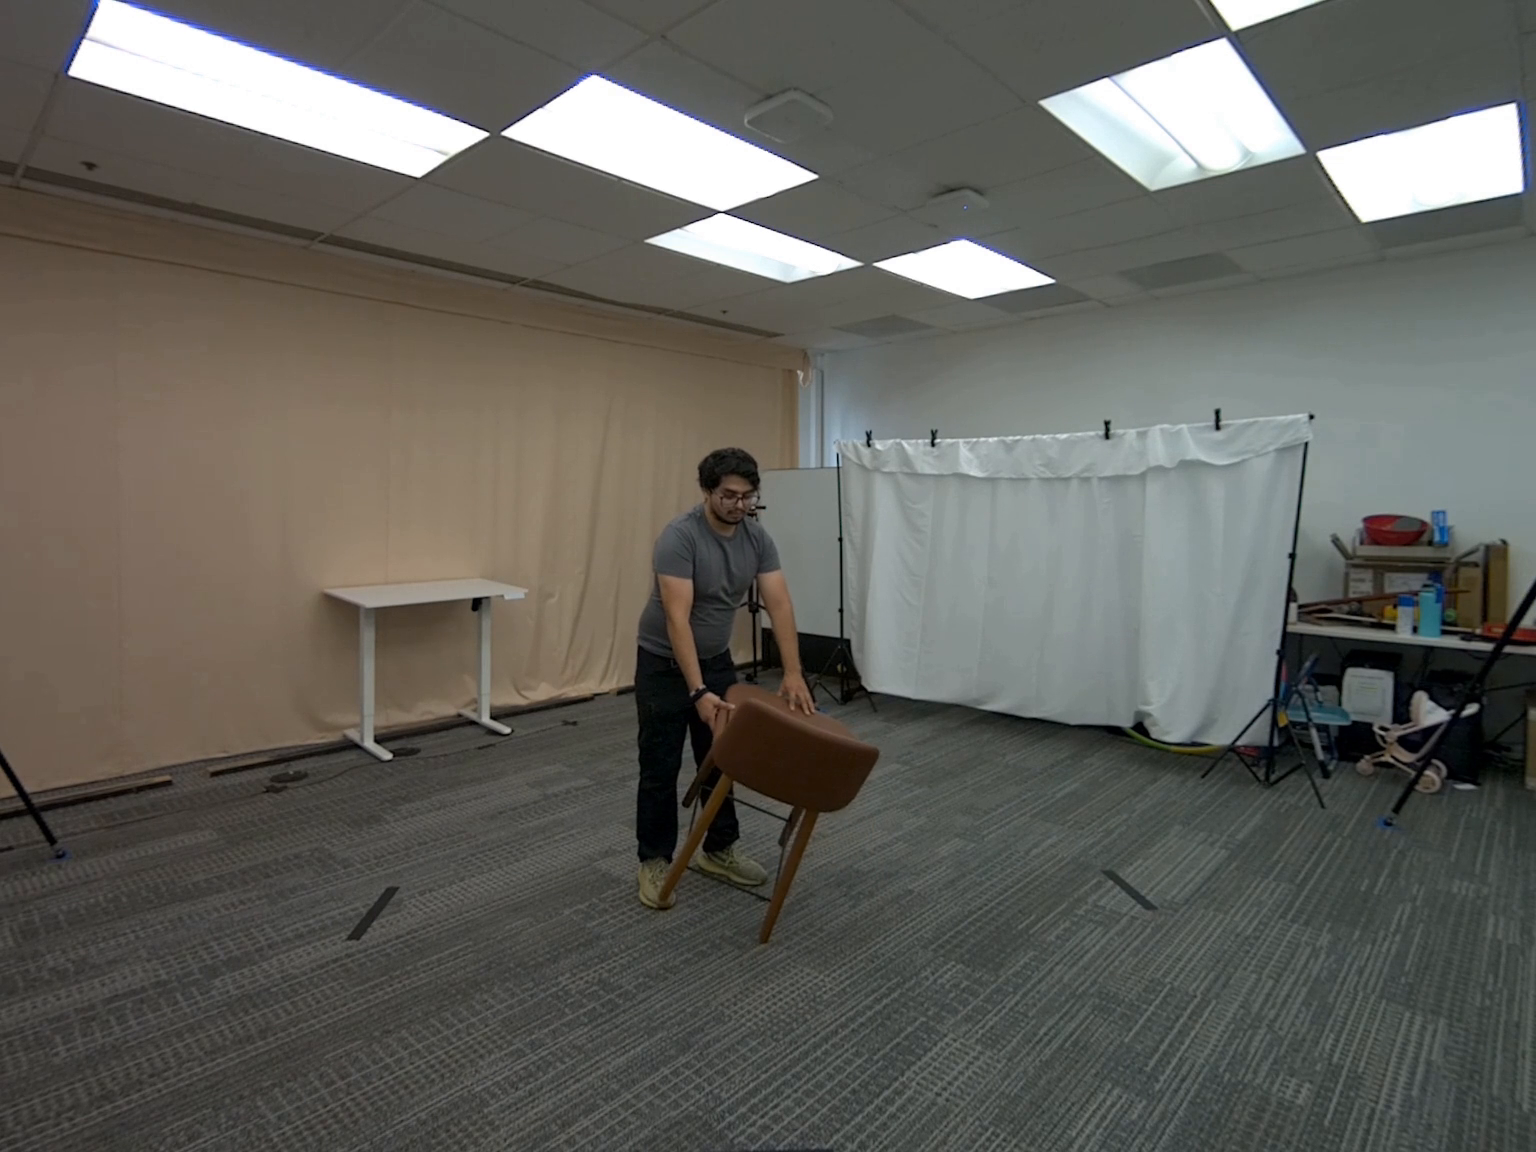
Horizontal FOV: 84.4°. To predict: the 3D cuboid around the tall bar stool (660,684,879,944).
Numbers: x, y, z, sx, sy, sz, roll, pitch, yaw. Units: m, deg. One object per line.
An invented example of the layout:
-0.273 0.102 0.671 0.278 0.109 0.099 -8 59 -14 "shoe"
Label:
0.007 0.657 2.670 0.456 0.886 0.470 23 29 -2 "tall bar stool"
